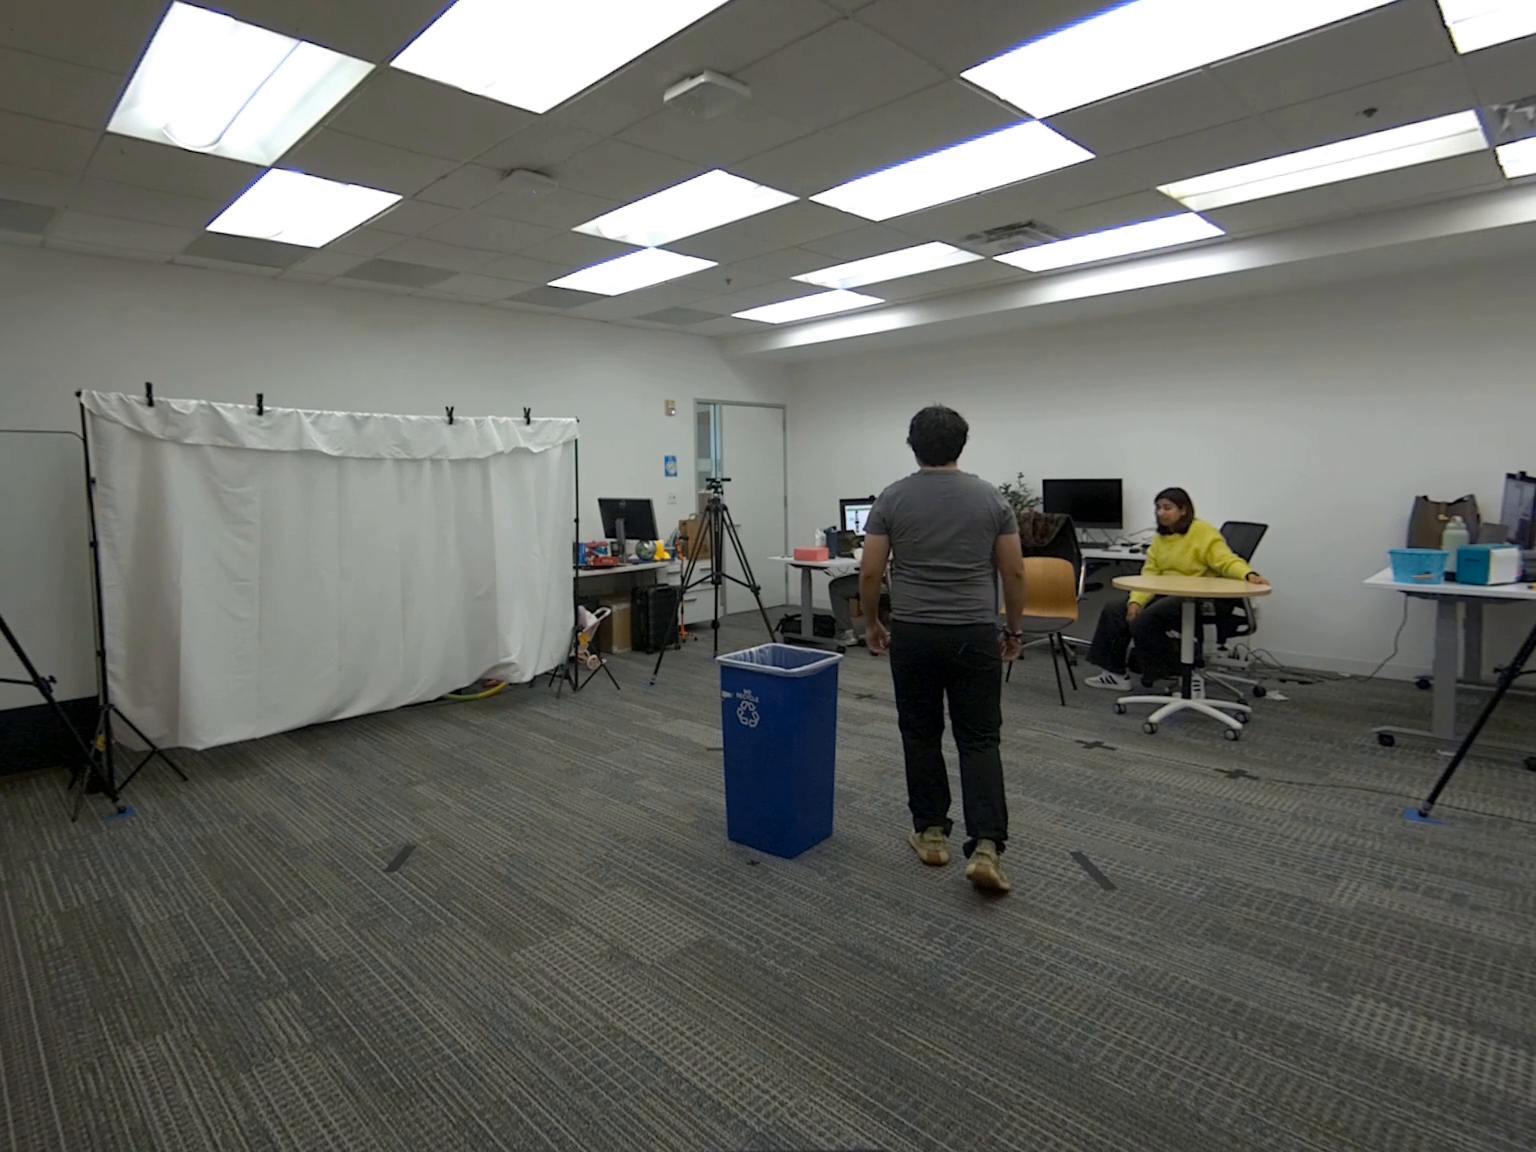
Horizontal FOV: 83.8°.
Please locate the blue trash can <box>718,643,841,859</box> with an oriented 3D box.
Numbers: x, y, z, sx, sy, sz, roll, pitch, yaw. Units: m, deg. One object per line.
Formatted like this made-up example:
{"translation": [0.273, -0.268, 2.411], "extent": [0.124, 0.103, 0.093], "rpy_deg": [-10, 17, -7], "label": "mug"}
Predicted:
{"translation": [0.056, 0.660, 3.302], "extent": [0.385, 0.711, 0.368], "rpy_deg": [3, 6, 38], "label": "blue trash can"}
